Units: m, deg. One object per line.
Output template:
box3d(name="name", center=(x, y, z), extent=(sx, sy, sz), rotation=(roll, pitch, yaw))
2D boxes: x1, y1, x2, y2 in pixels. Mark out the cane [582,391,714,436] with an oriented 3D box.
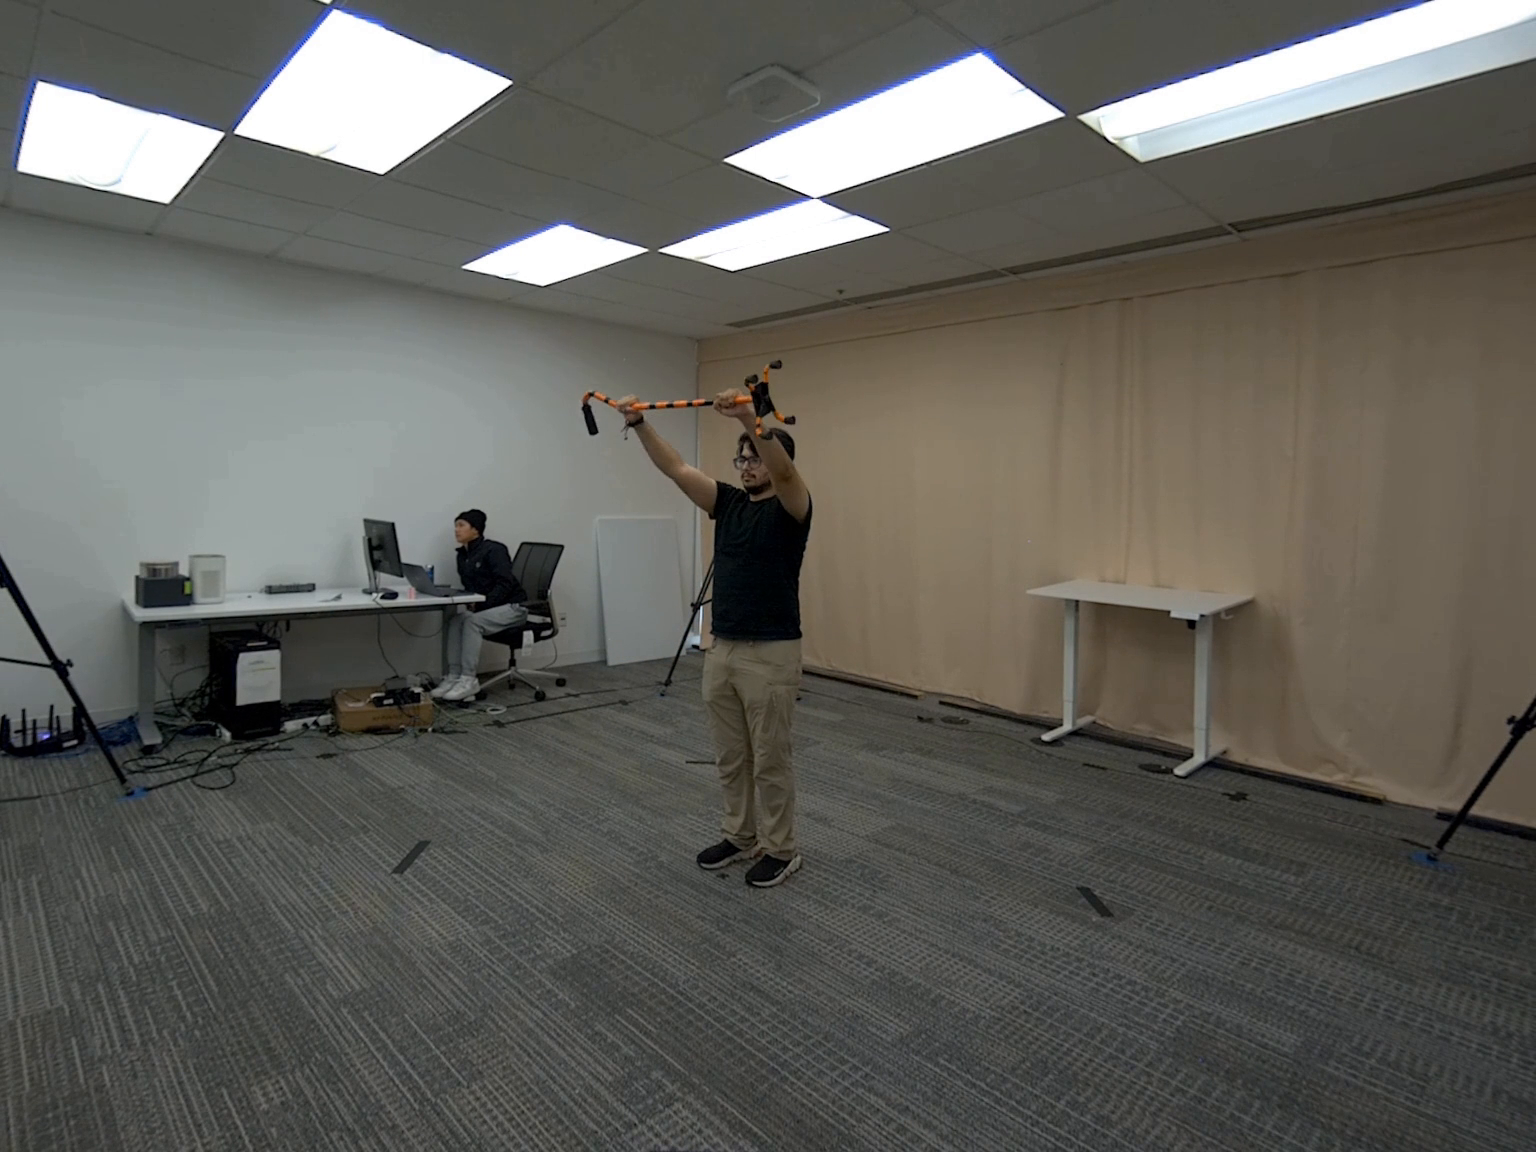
box3d(name="cane", center=(-0.336, -0.565, 2.800), extent=(0.931, 0.202, 0.151), rotation=(7, 32, 40))
